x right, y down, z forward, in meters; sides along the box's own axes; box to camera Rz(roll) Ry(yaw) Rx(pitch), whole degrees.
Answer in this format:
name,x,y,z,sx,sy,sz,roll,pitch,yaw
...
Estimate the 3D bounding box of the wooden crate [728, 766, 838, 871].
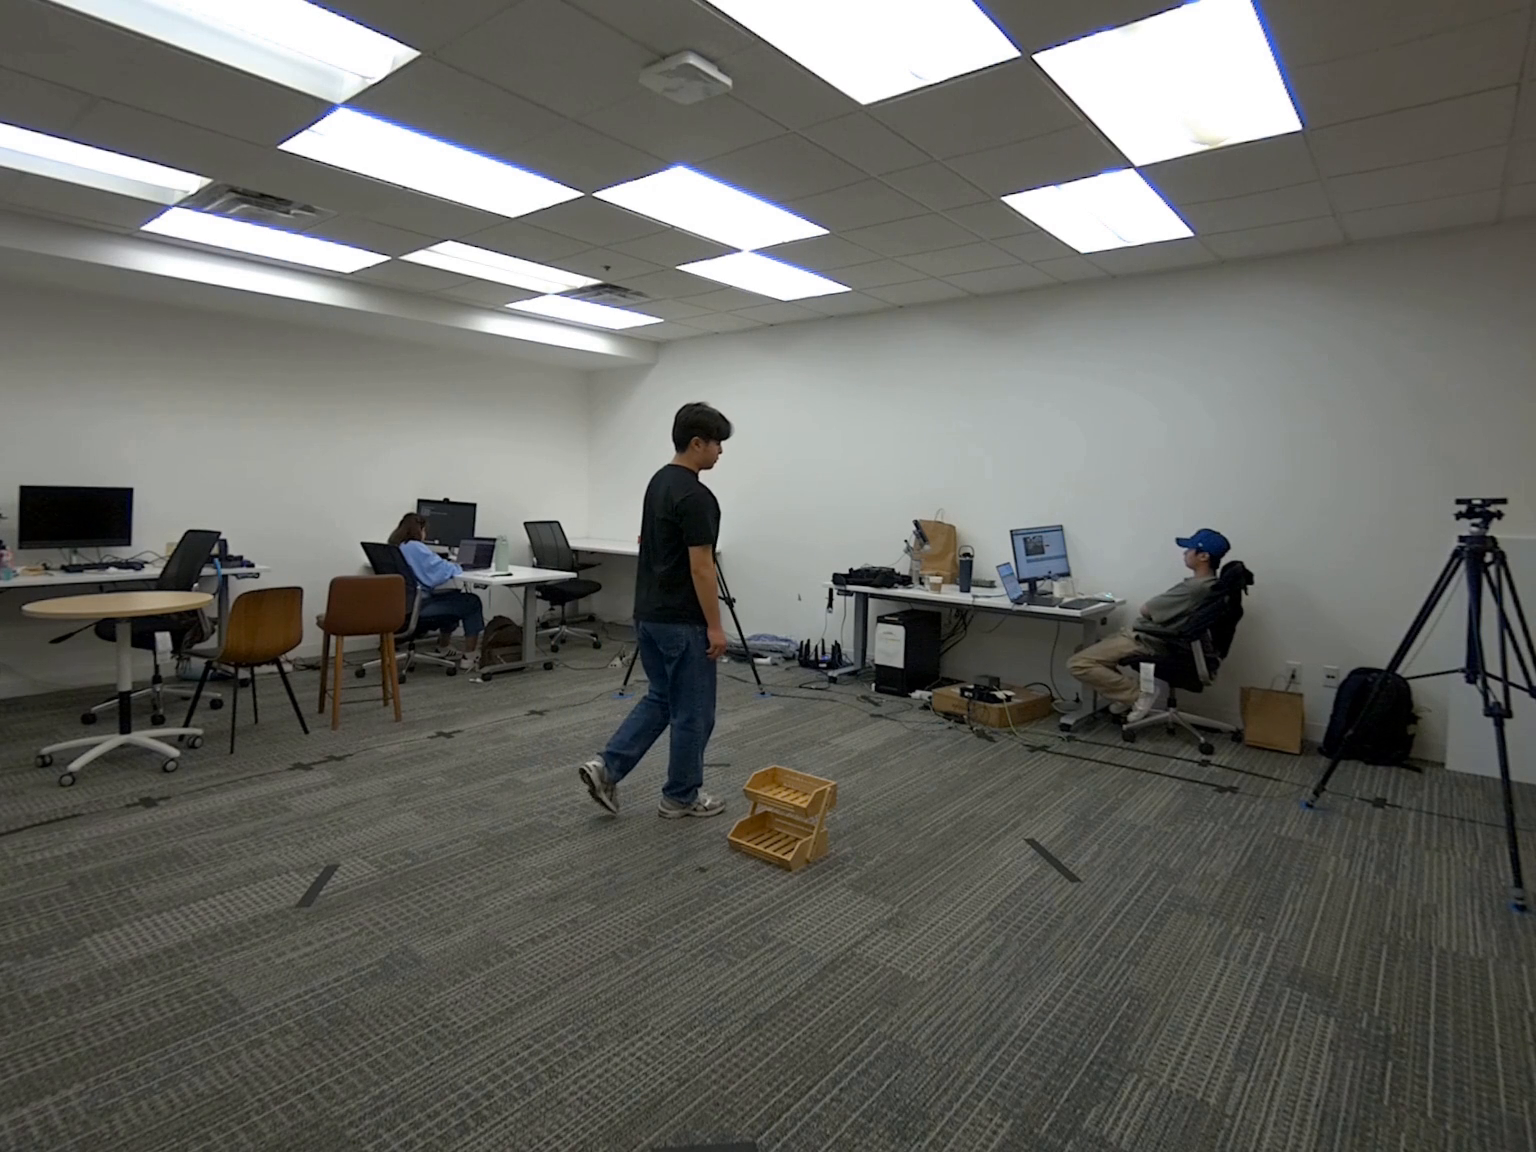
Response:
name,x,y,z,sx,sy,sz,roll,pitch,yaw
wooden crate,0.046,0.923,3.302,0.335,0.272,0.293,5,5,38
